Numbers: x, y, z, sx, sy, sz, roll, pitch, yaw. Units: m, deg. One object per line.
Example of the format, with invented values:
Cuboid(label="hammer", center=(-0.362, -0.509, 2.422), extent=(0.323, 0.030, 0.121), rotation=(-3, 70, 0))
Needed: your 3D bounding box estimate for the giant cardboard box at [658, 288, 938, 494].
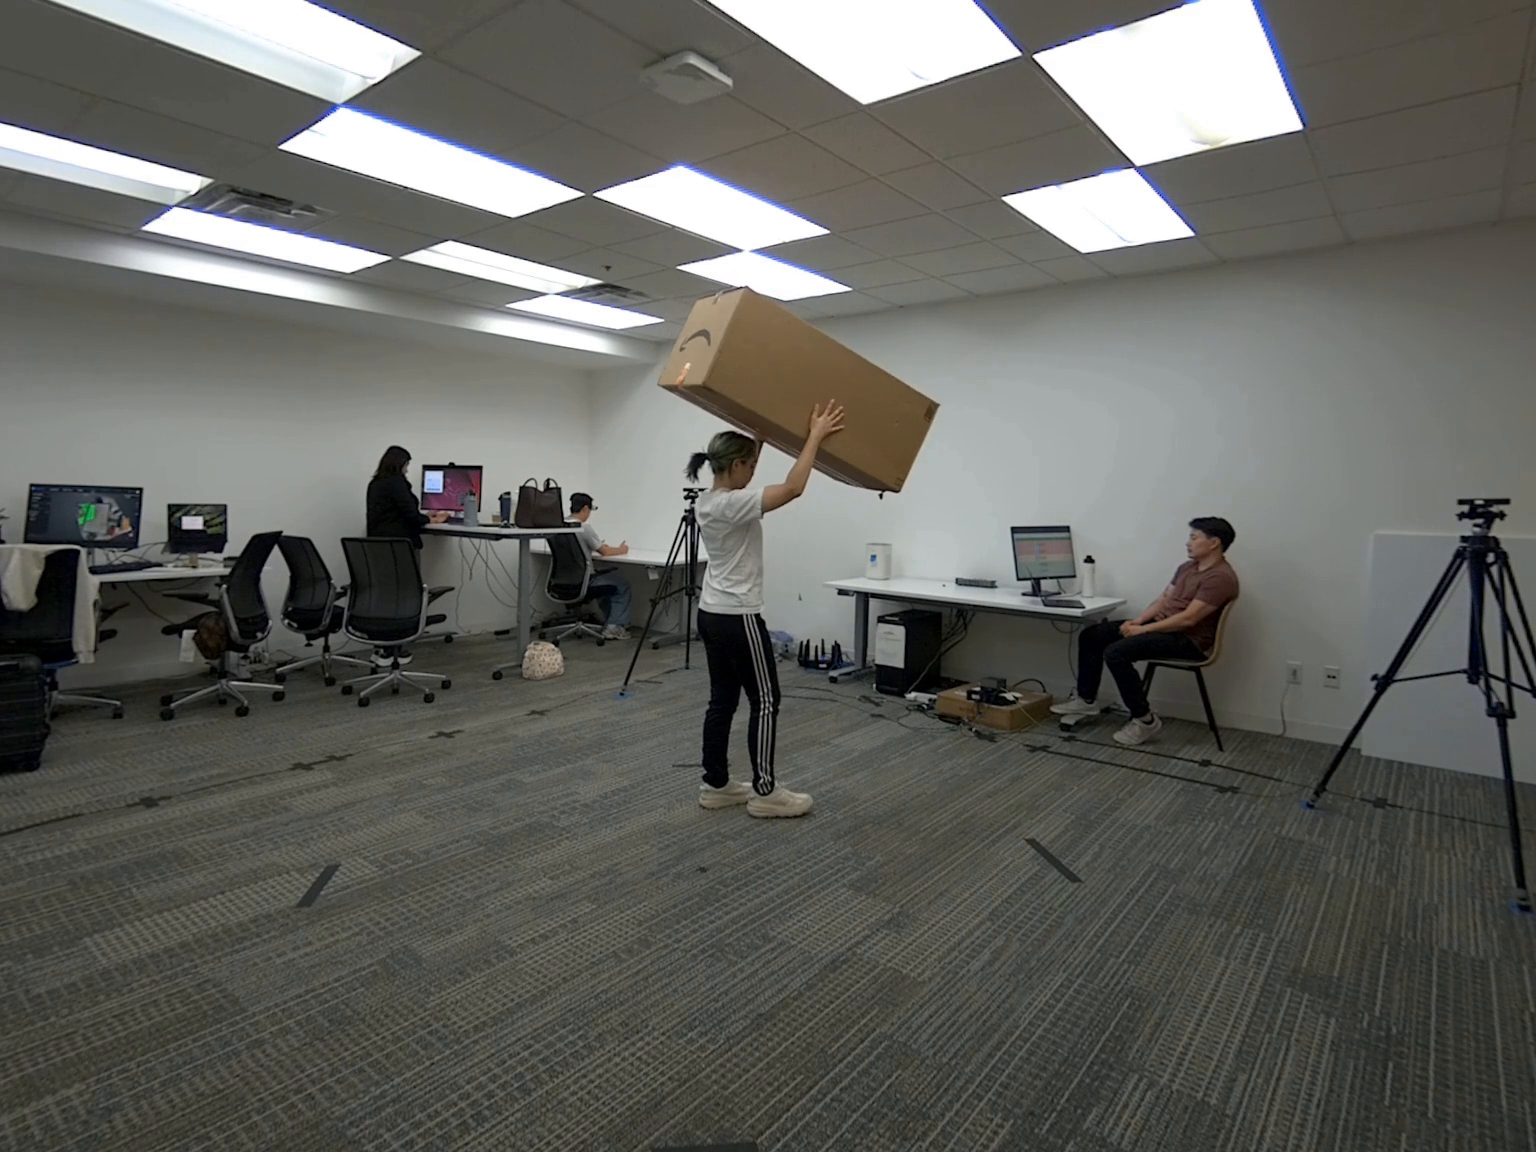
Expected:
Cuboid(label="giant cardboard box", center=(0.118, -0.789, 3.707), extent=(0.996, 0.447, 0.602), rotation=(25, -2, -25))
